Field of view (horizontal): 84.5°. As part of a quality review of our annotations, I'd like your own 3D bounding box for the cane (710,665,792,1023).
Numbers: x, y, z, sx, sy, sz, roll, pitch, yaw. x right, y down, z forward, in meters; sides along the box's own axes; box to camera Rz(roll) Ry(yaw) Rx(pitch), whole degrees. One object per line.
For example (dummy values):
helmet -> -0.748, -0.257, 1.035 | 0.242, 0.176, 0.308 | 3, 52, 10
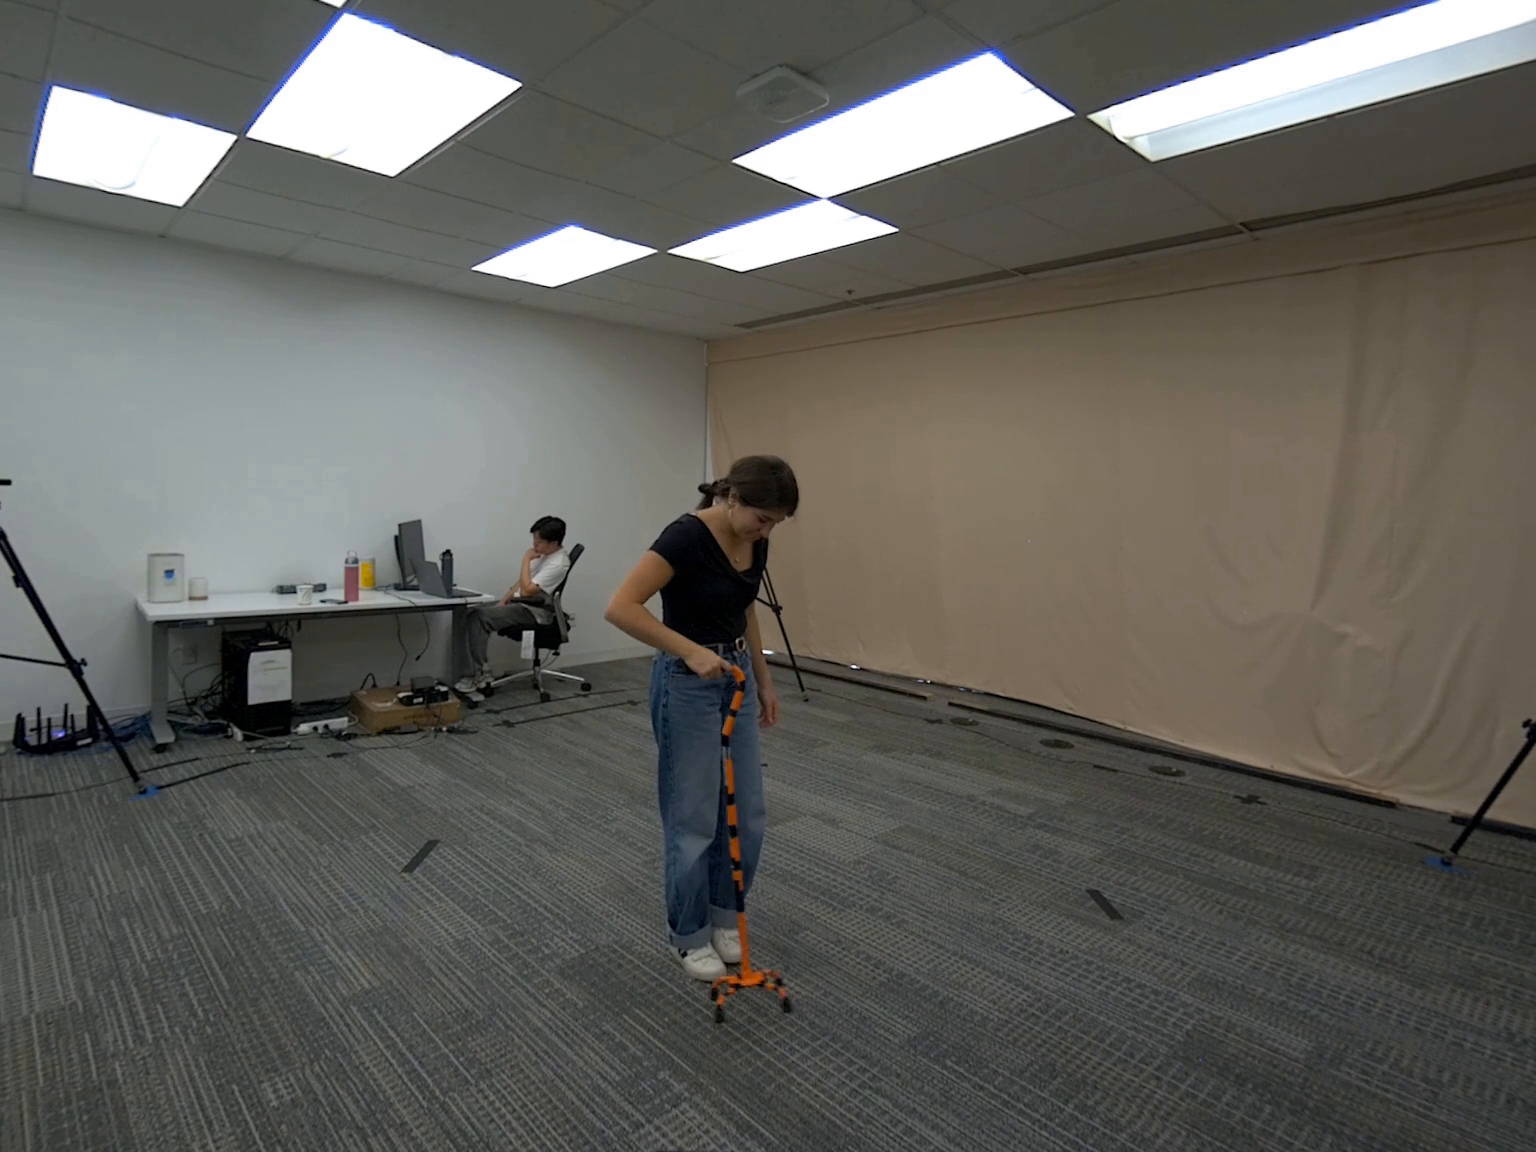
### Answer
cane -> -0.091, 0.697, 2.247 | 0.205, 0.910, 0.152 | -4, -3, -6
